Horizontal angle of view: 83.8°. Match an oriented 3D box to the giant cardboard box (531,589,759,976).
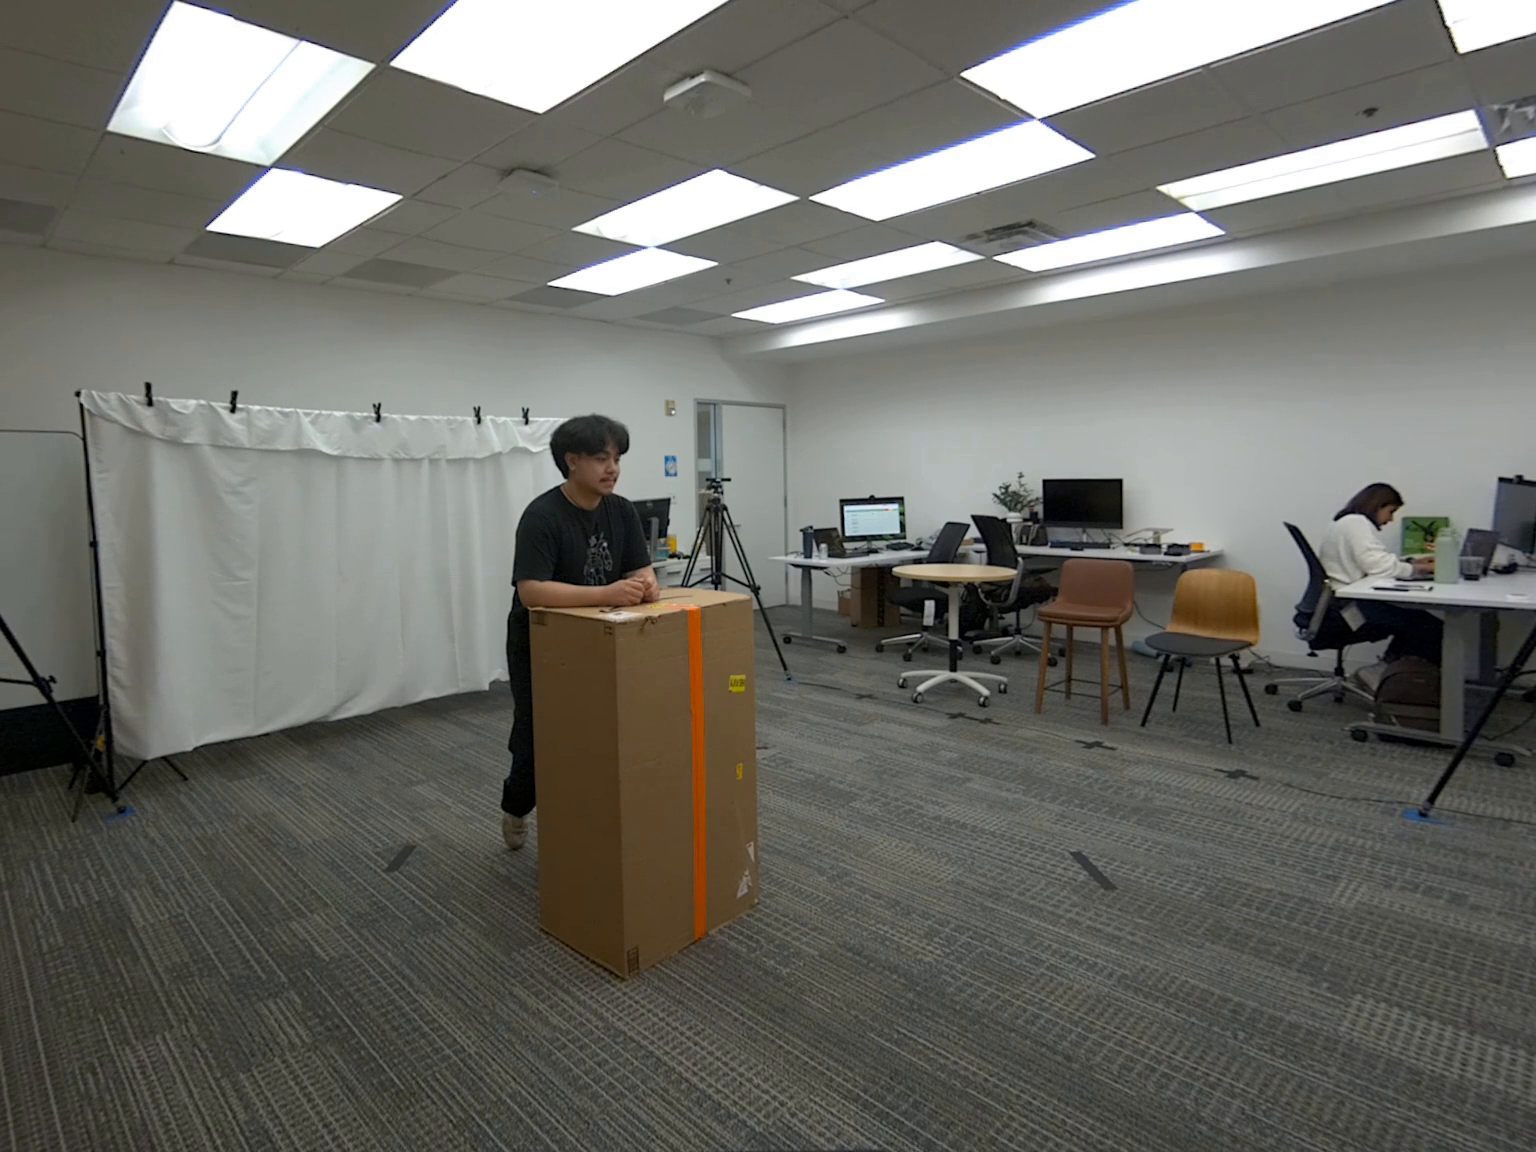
[{"bbox_3d":[-0.377,0.585,2.705,0.461,1.022,0.569,4,7,43],"label":"giant cardboard box"}]
